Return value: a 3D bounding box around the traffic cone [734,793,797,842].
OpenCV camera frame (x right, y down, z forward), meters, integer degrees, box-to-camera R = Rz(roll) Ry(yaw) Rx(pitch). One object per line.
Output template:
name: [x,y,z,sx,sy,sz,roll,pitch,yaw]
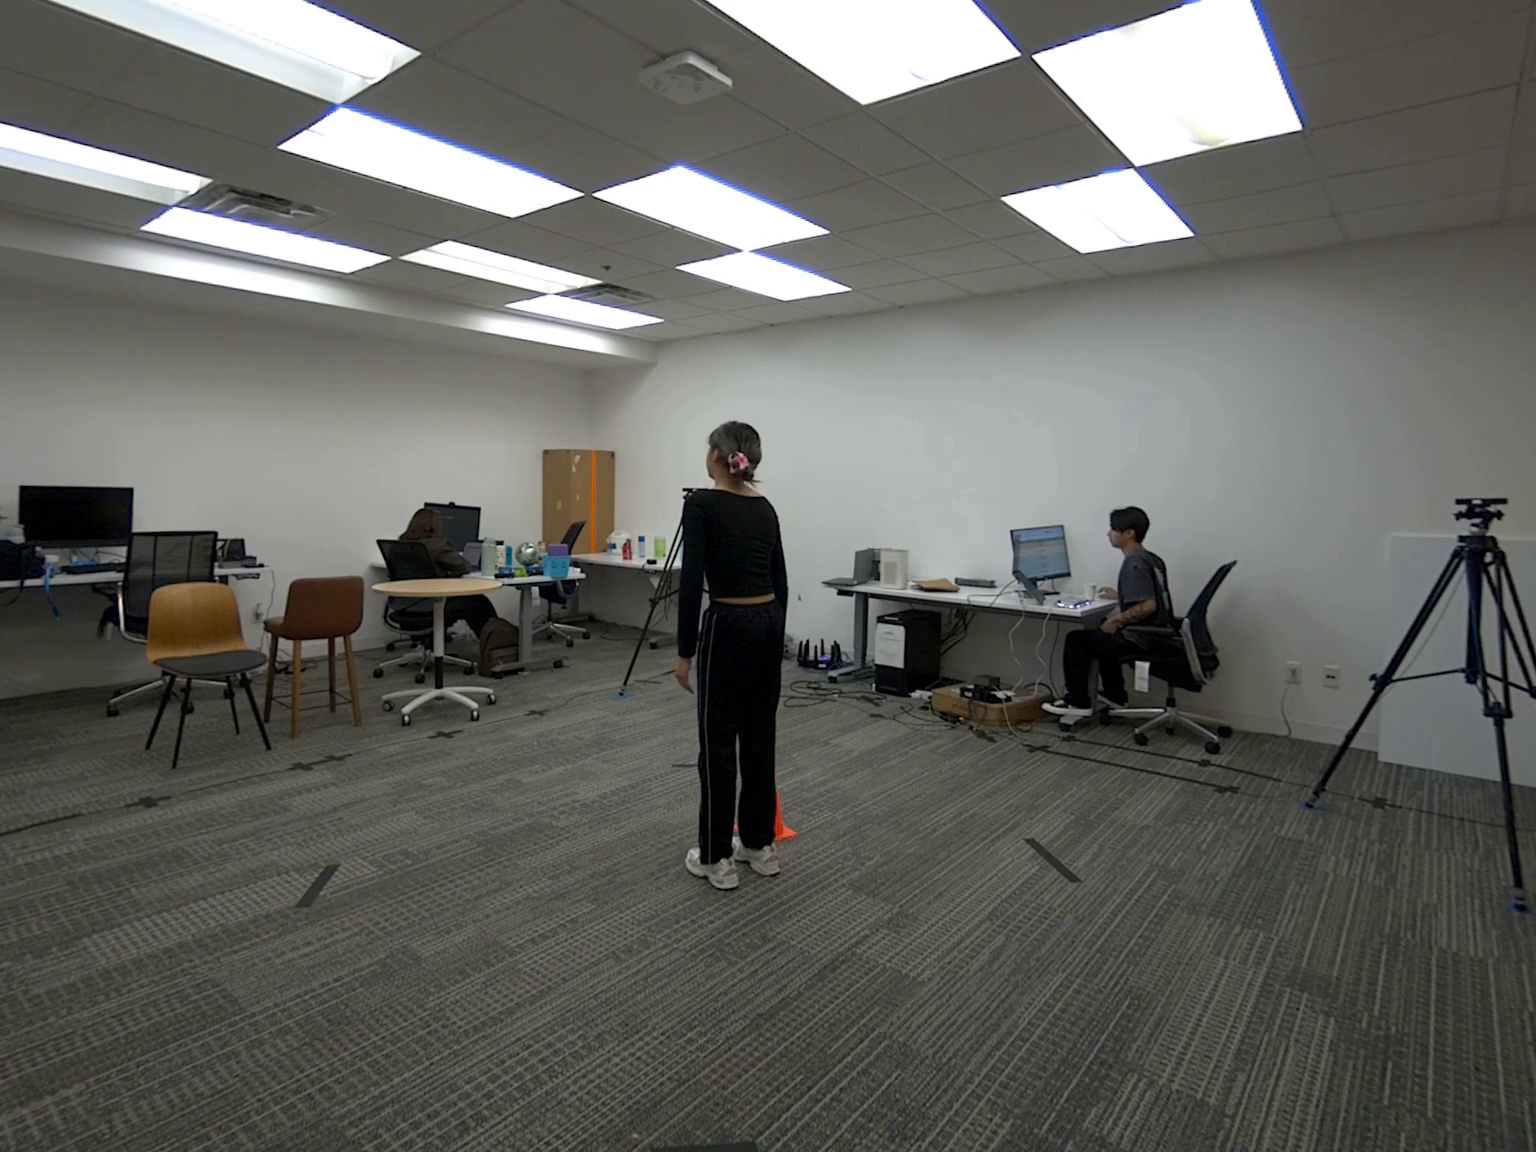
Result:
traffic cone: [-0.018,0.848,3.460,0.198,0.382,0.211,-2,5,-33]
